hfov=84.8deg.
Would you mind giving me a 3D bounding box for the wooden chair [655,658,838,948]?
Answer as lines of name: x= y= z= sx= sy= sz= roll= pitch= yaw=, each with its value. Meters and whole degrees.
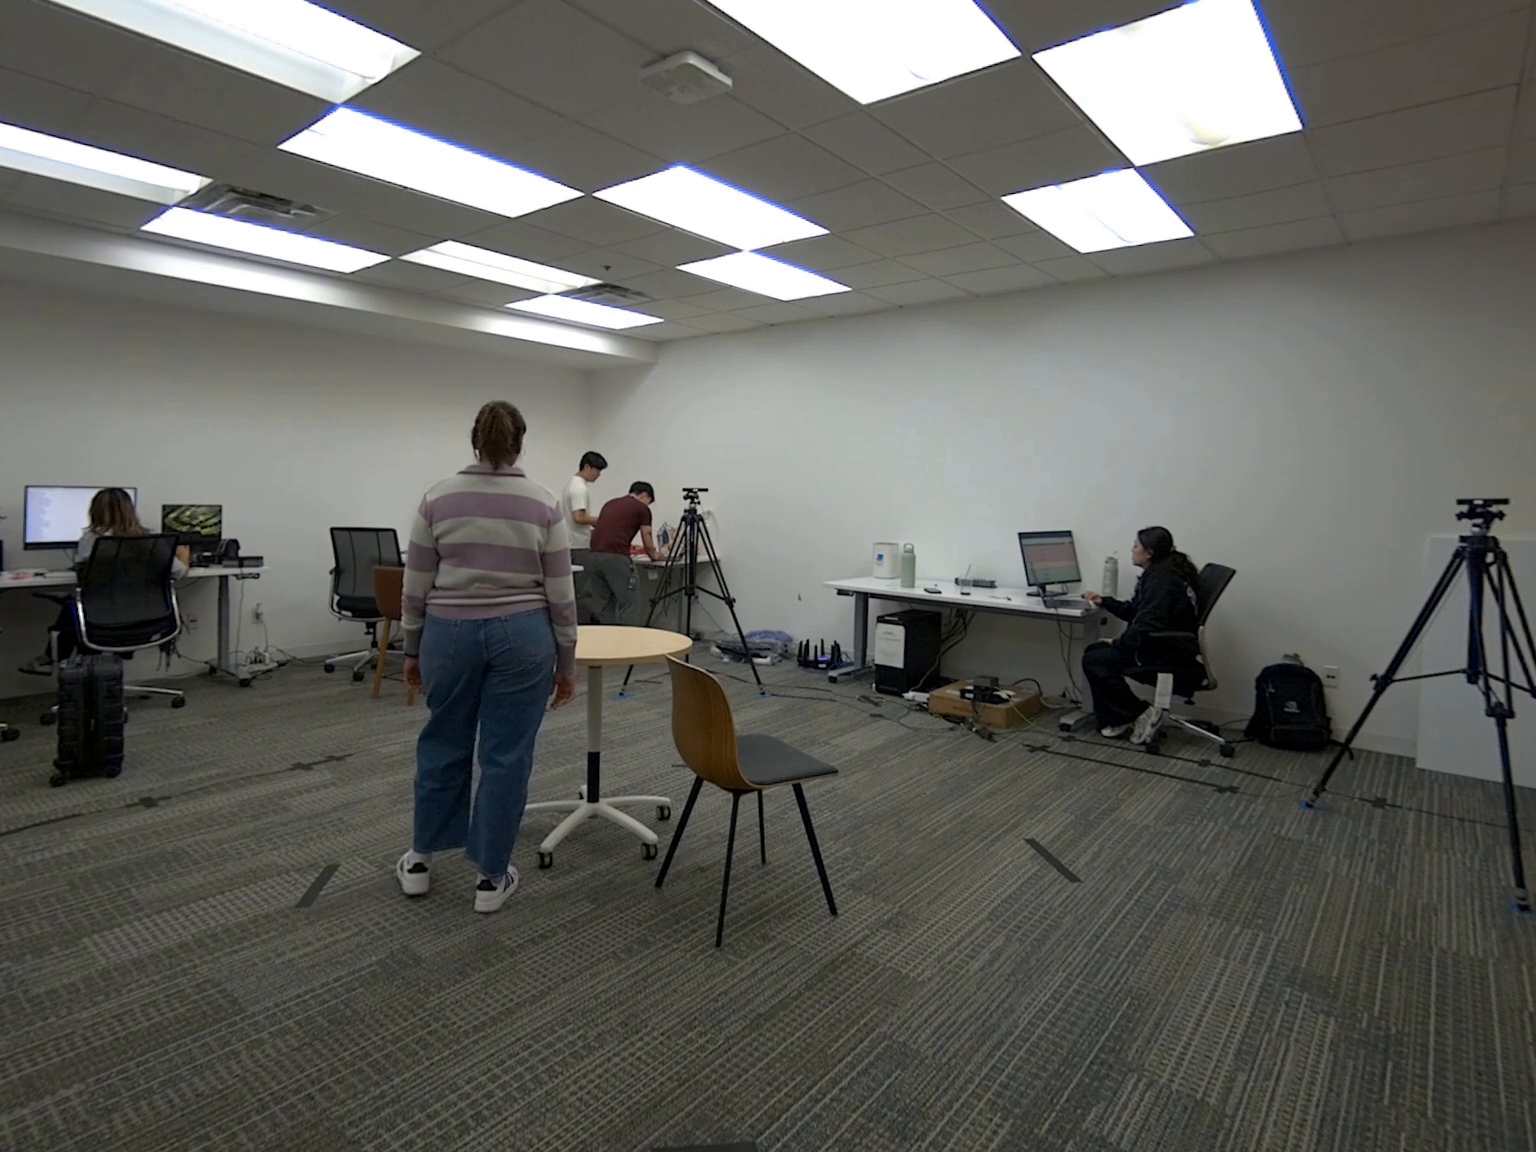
wooden chair: x=-0.073 y=0.673 z=2.847 sx=0.510 sy=0.873 sz=0.493 roll=-6 pitch=6 yaw=-31
